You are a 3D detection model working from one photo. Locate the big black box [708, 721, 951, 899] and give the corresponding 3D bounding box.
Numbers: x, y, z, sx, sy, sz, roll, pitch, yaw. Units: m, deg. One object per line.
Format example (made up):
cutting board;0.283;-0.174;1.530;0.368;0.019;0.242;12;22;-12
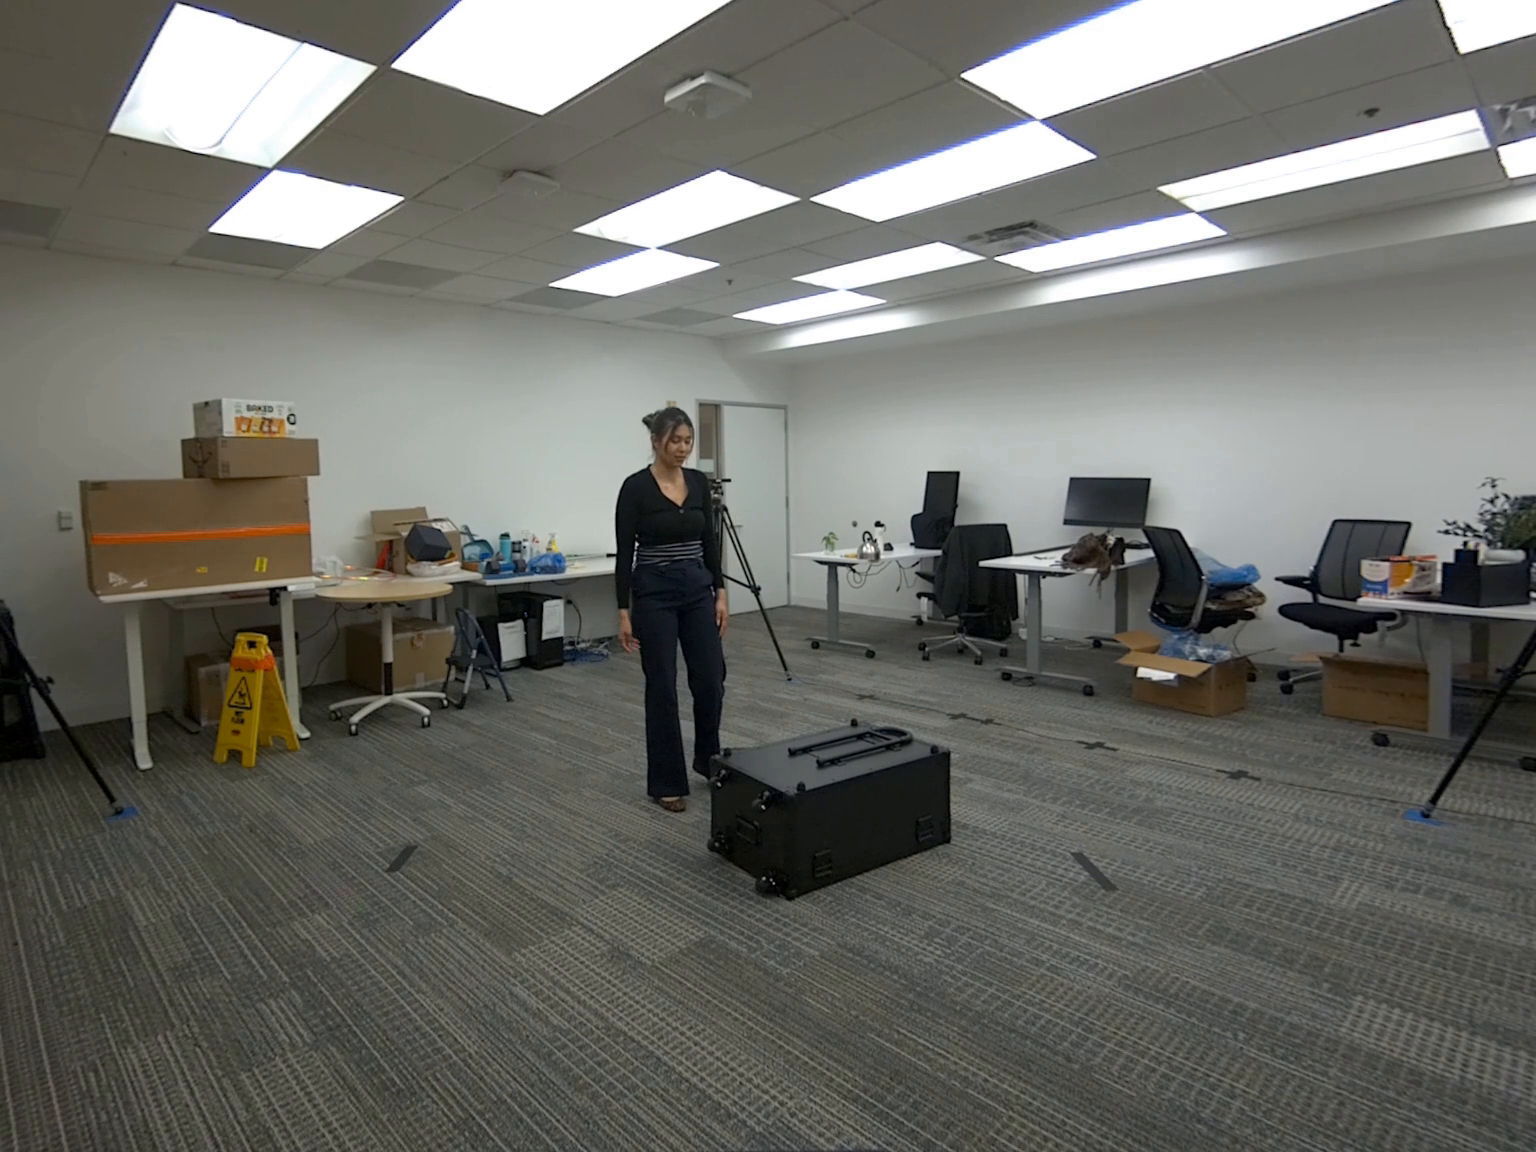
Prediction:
big black box;0.263;0.849;3.238;0.840;0.395;0.537;-5;7;-35
